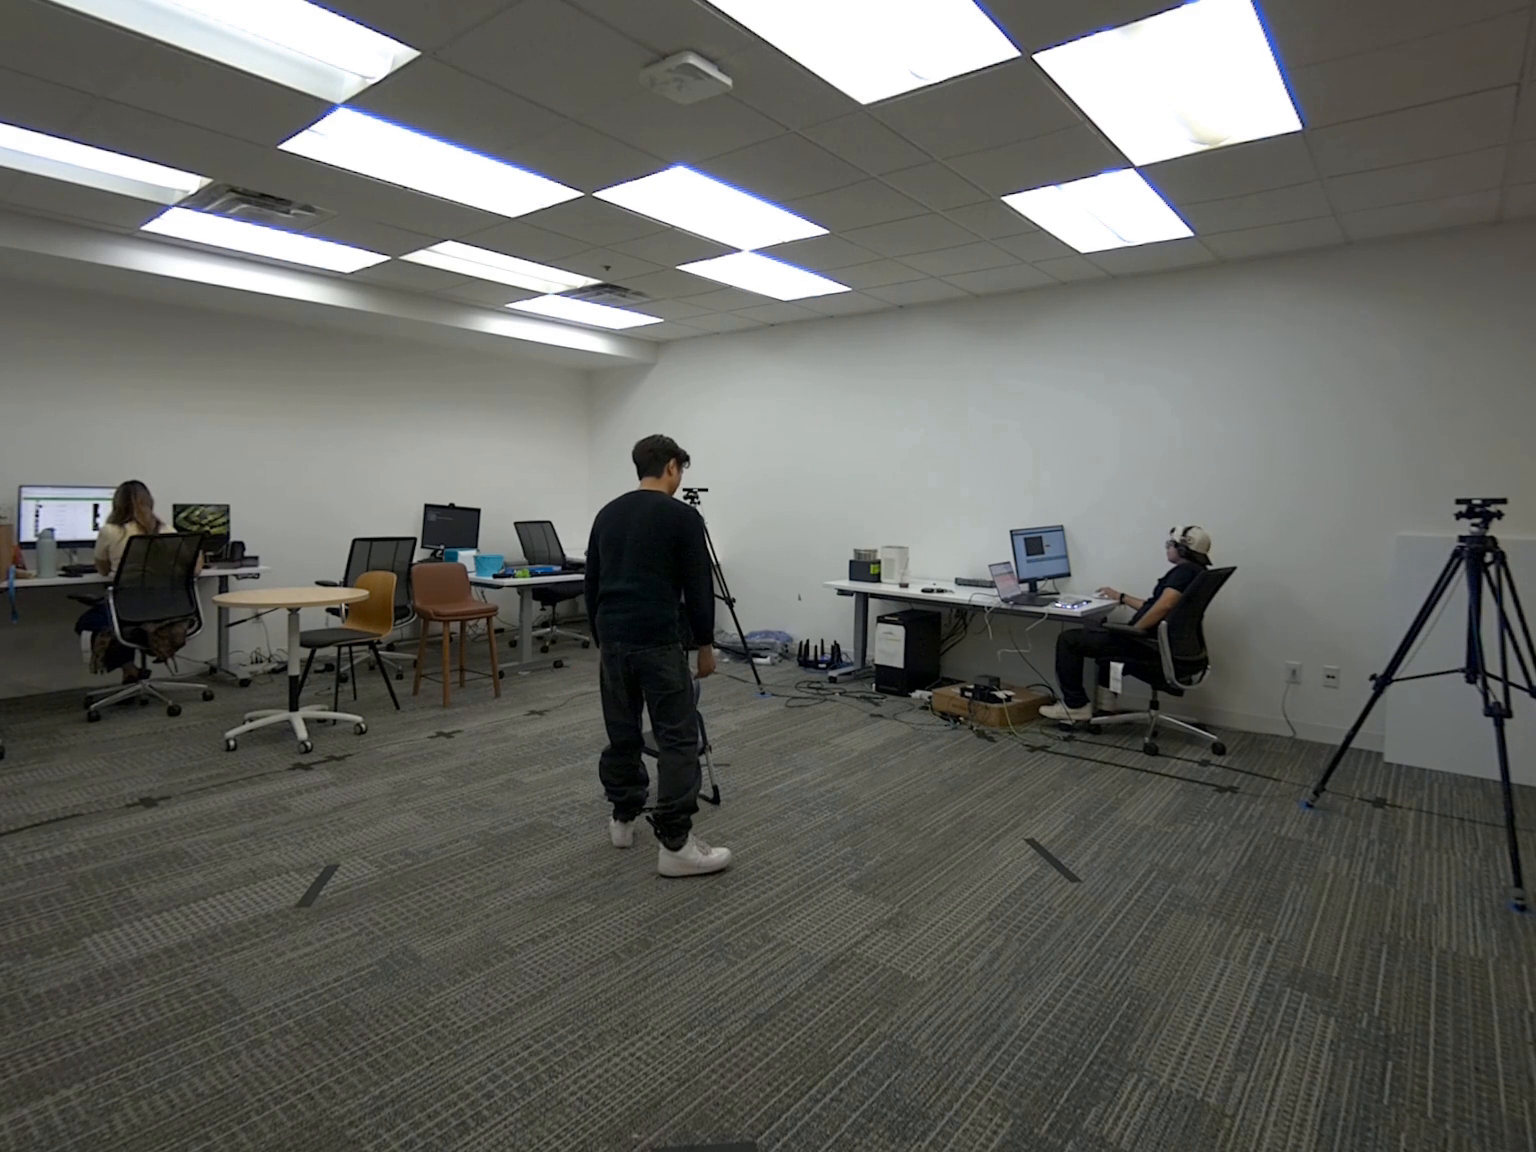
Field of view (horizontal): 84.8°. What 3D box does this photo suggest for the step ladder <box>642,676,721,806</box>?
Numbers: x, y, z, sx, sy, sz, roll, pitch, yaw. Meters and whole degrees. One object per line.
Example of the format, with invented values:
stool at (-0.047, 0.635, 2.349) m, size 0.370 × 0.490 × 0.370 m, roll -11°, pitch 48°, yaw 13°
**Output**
step ladder at (-0.473, 0.694, 3.790) m, size 0.338 × 0.605 × 0.445 m, roll -2°, pitch 4°, yaw -42°
